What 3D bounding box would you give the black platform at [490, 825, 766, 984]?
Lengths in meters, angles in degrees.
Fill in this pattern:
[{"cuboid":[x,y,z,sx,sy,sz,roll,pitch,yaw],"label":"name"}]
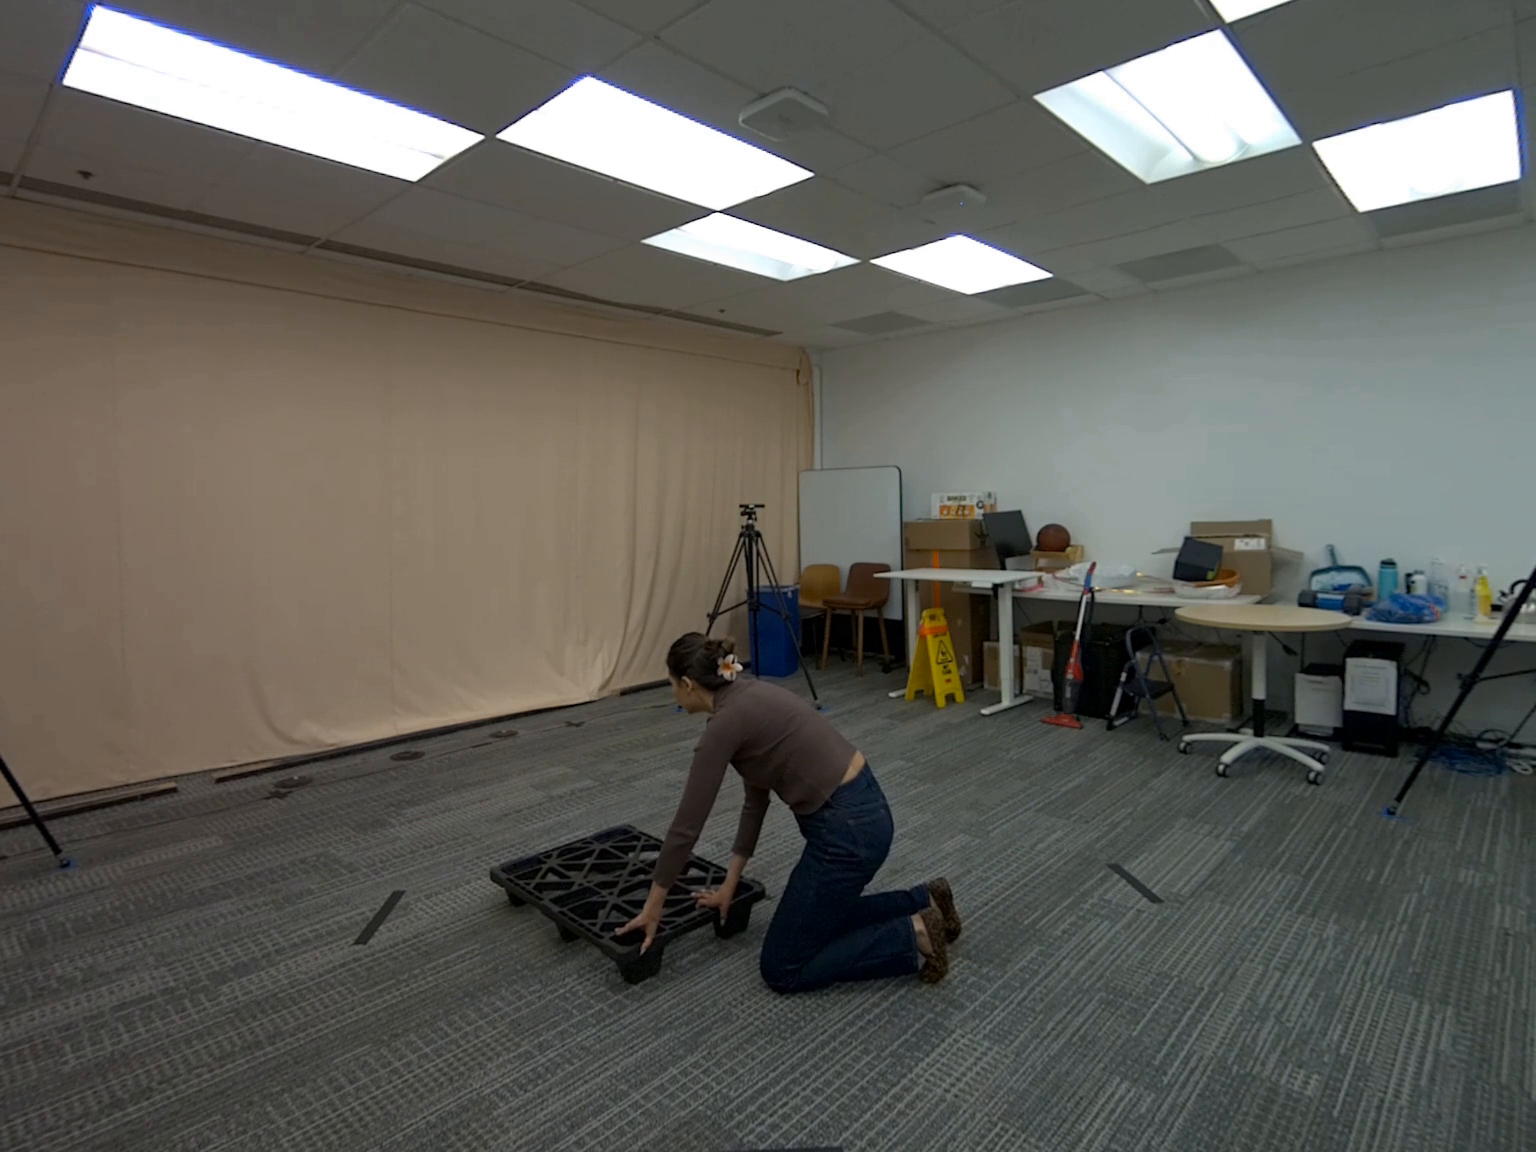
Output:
[{"cuboid":[-0.491,1.095,2.867,0.587,0.143,0.832,-7,7,-44],"label":"black platform"}]
